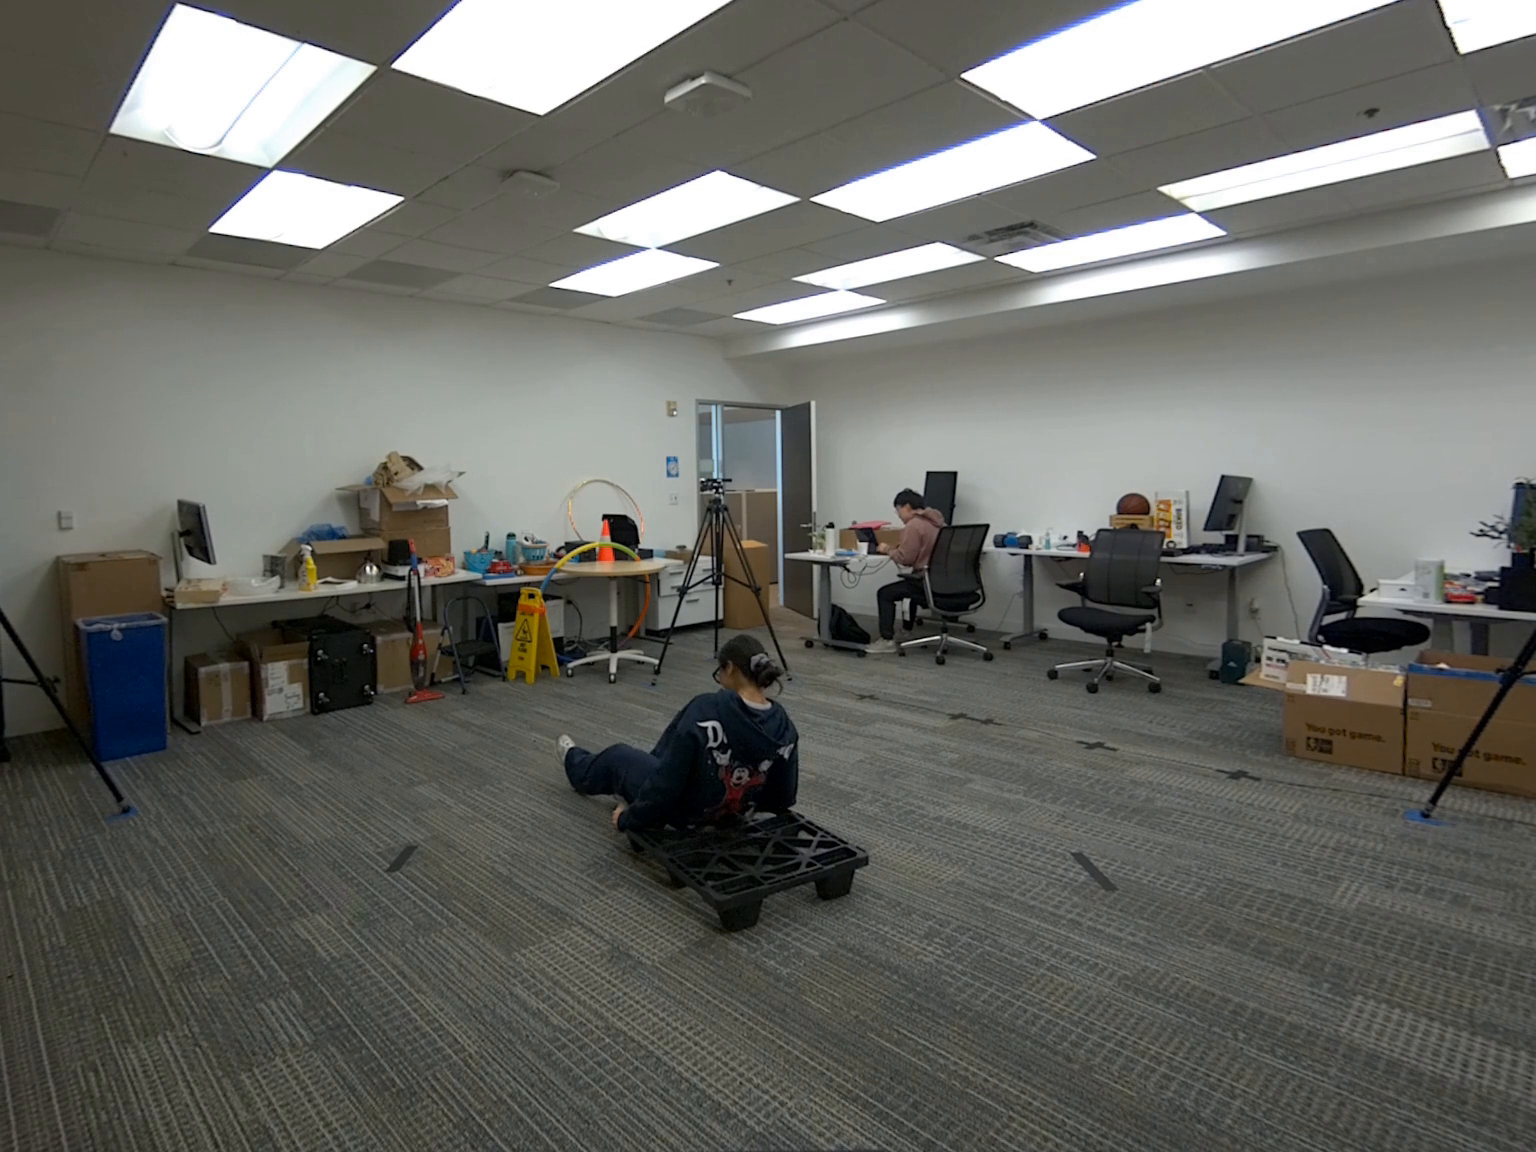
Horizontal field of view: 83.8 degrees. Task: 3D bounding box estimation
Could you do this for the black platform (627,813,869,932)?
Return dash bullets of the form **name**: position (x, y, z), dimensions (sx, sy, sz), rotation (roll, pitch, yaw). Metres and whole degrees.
- **black platform**: position (-0.115, 0.991, 3.047), dimensions (0.591, 0.143, 0.828), rotation (-5, 7, -30)
